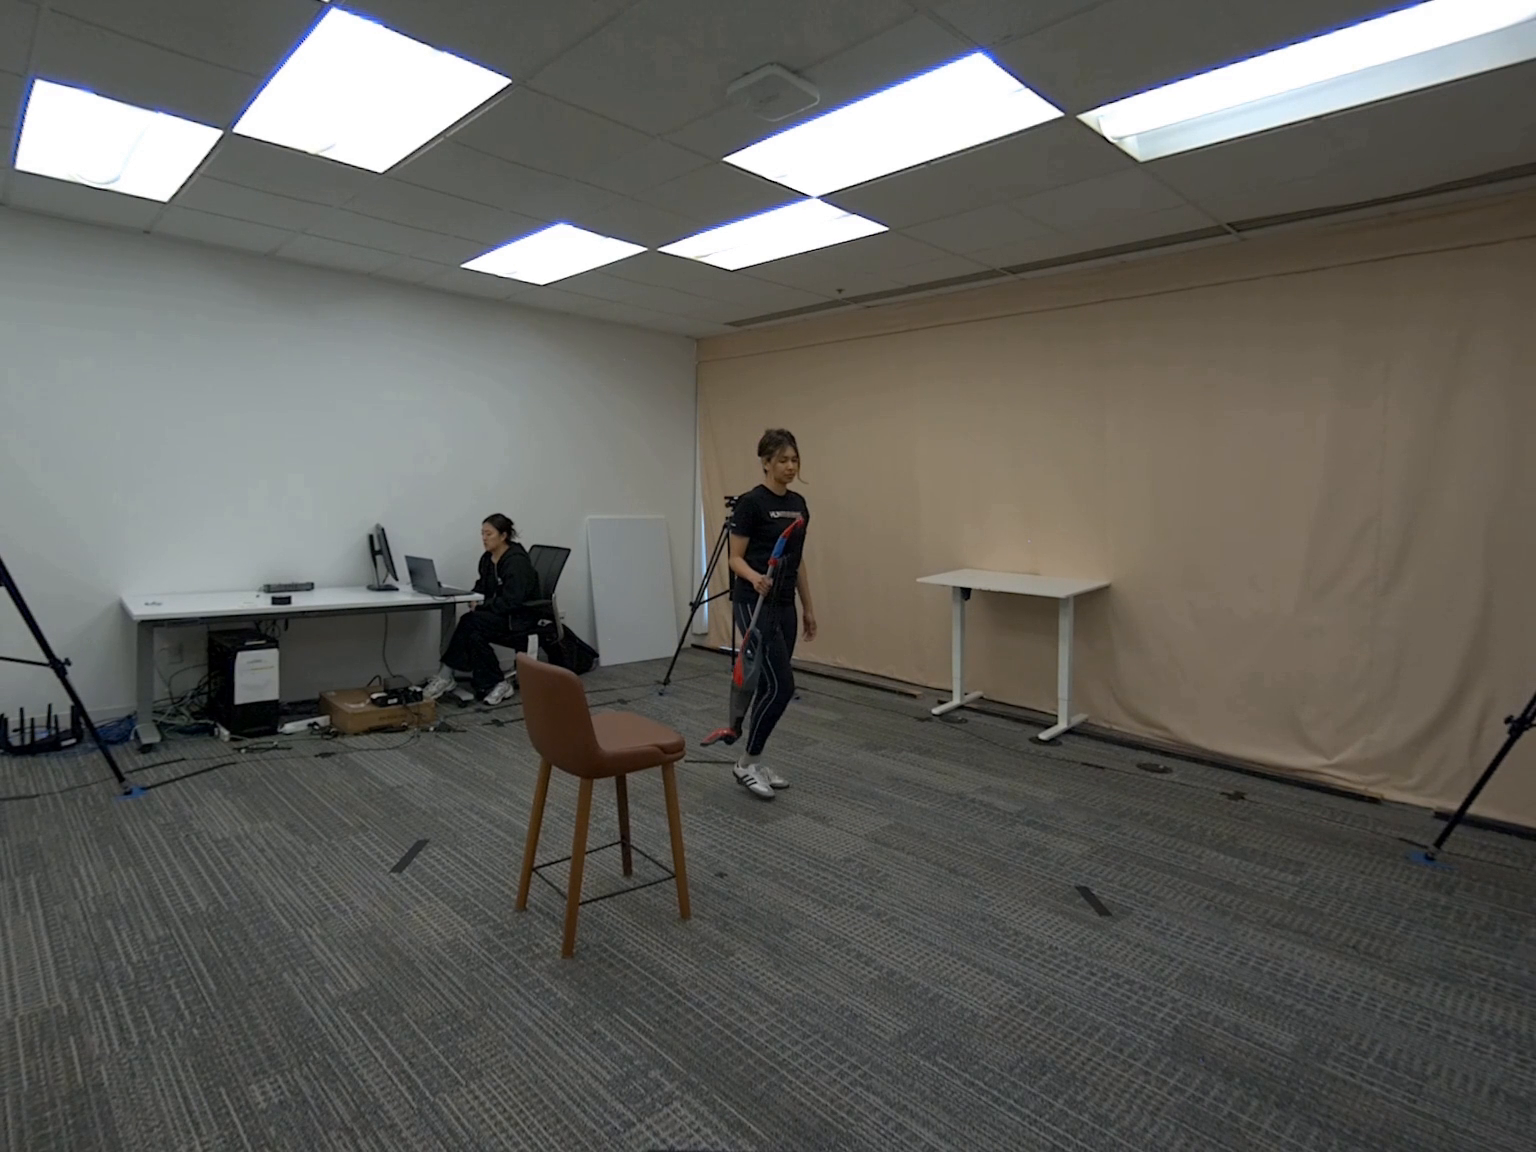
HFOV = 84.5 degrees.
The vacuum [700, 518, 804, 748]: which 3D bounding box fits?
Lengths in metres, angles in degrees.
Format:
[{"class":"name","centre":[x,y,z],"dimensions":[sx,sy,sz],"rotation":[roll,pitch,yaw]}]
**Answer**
[{"class":"vacuum","centre":[-0.046,0.250,3.702],"dimensions":[0.146,1.044,0.250],"rotation":[21,11,15]}]
